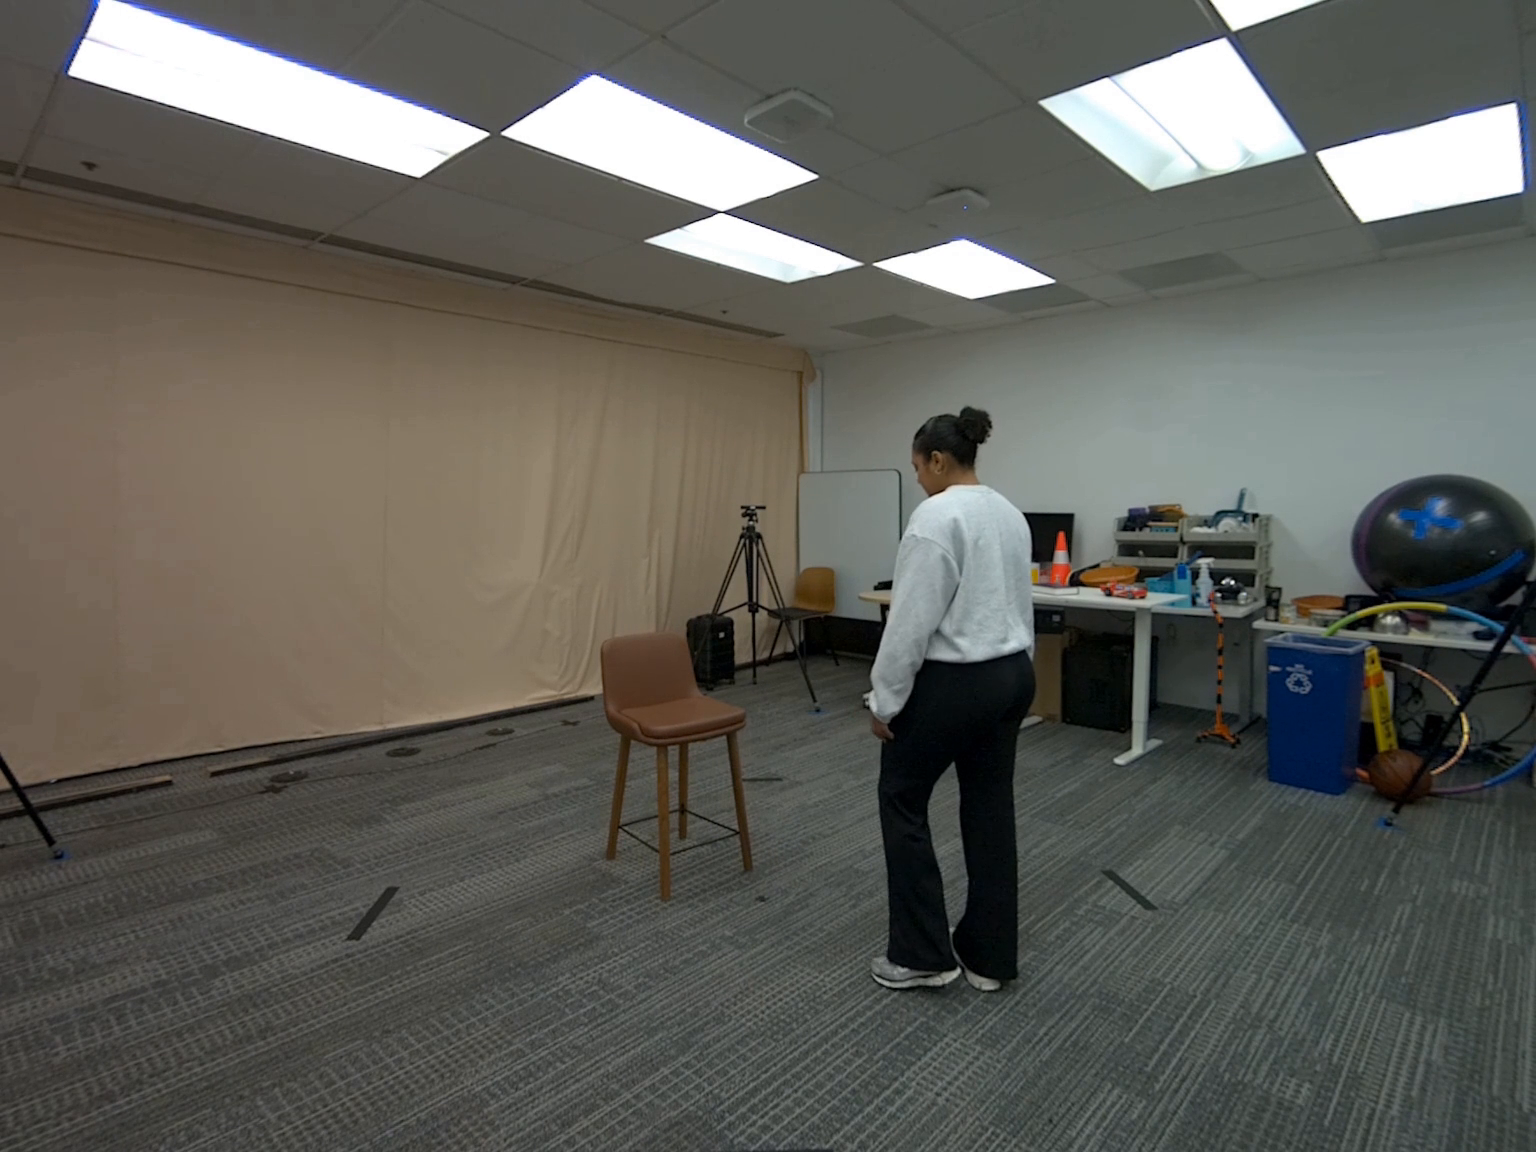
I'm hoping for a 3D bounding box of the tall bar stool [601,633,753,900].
[{"bbox_3d":[-0.363,0.688,3.252,0.443,0.889,0.482,-3,2,-38],"label":"tall bar stool"}]
